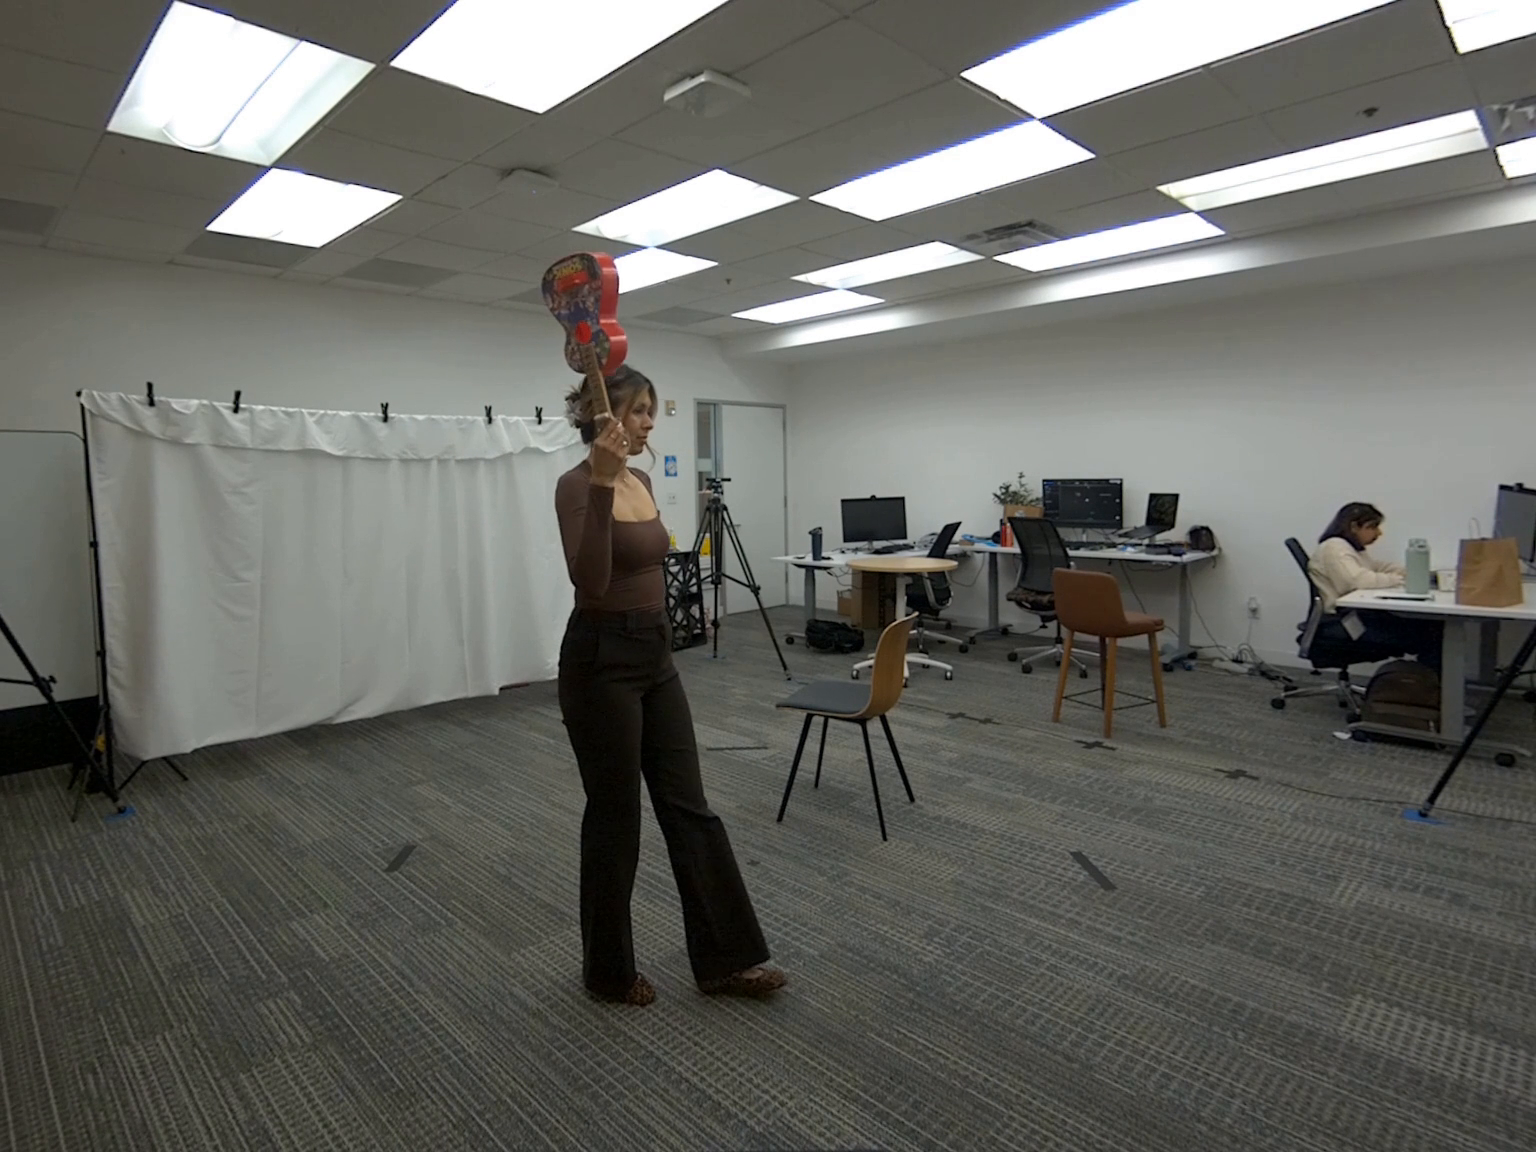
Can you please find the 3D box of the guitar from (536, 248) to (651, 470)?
[{"bbox_3d":[-0.409,-0.496,2.008,0.198,0.491,0.070,3,16,33],"label":"guitar"}]
